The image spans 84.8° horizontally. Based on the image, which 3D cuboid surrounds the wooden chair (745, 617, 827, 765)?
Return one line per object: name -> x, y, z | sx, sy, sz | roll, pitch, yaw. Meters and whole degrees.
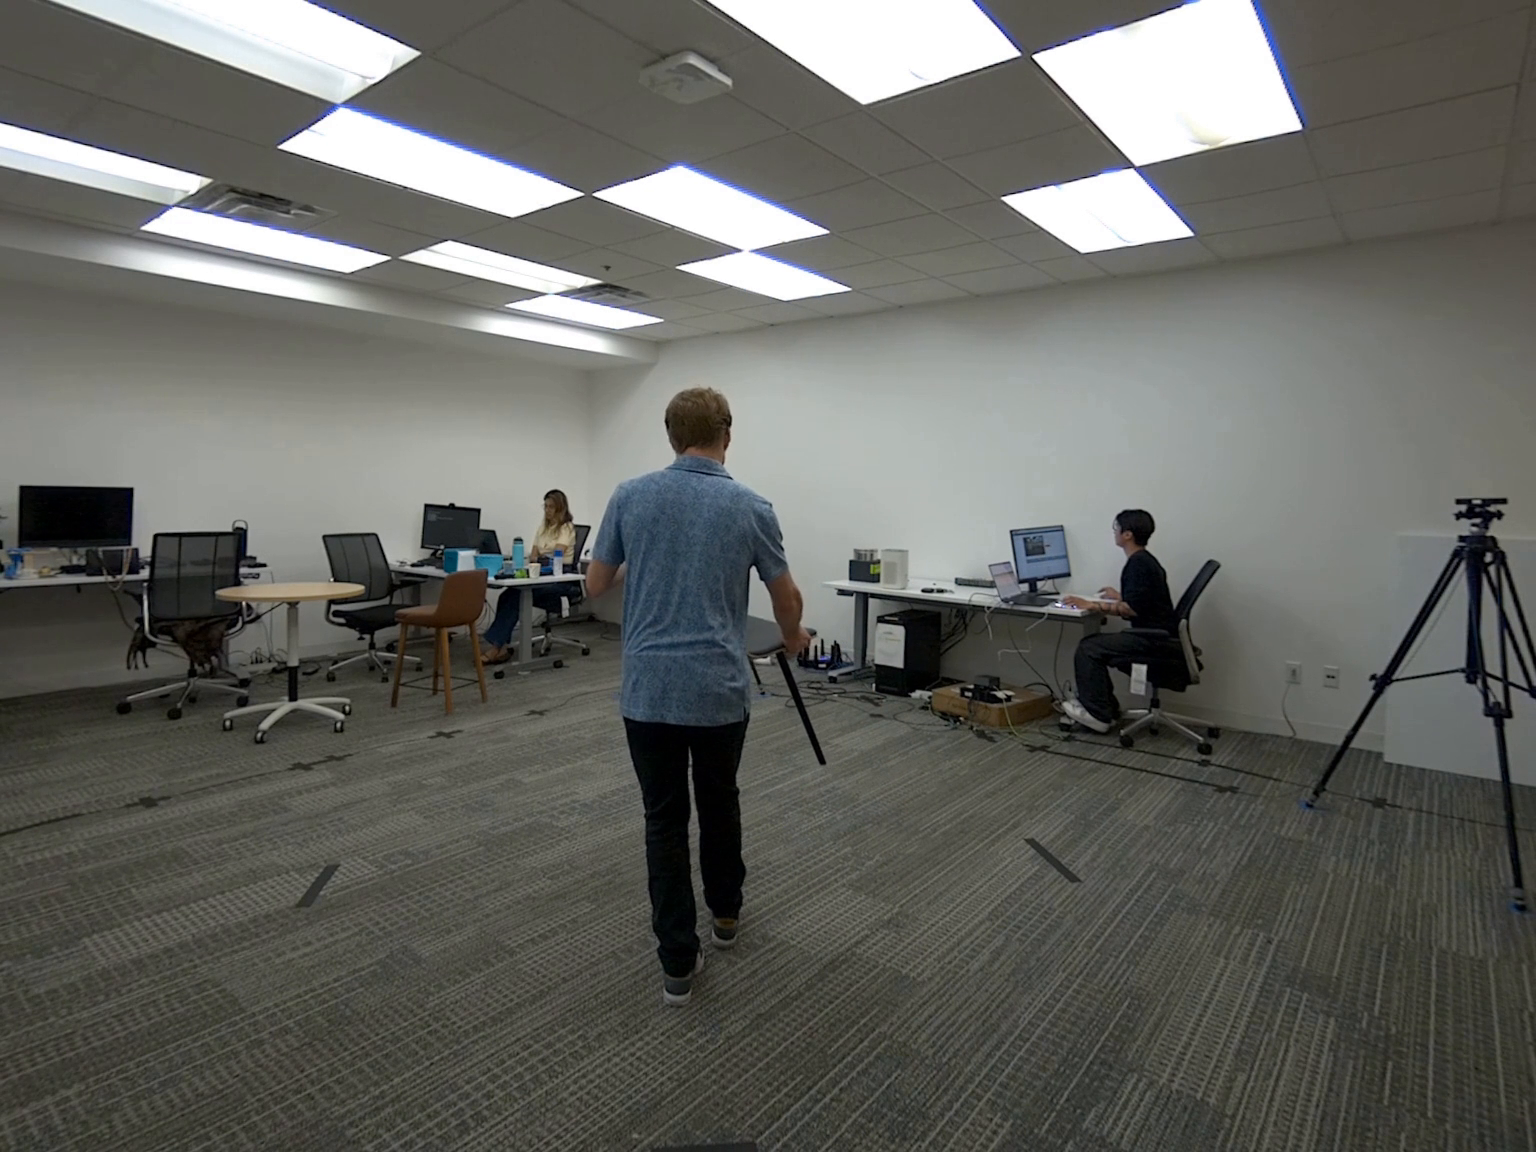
wooden chair -> -0.146, 0.259, 2.911 | 0.495, 0.865, 0.512 | 8, 19, 44
